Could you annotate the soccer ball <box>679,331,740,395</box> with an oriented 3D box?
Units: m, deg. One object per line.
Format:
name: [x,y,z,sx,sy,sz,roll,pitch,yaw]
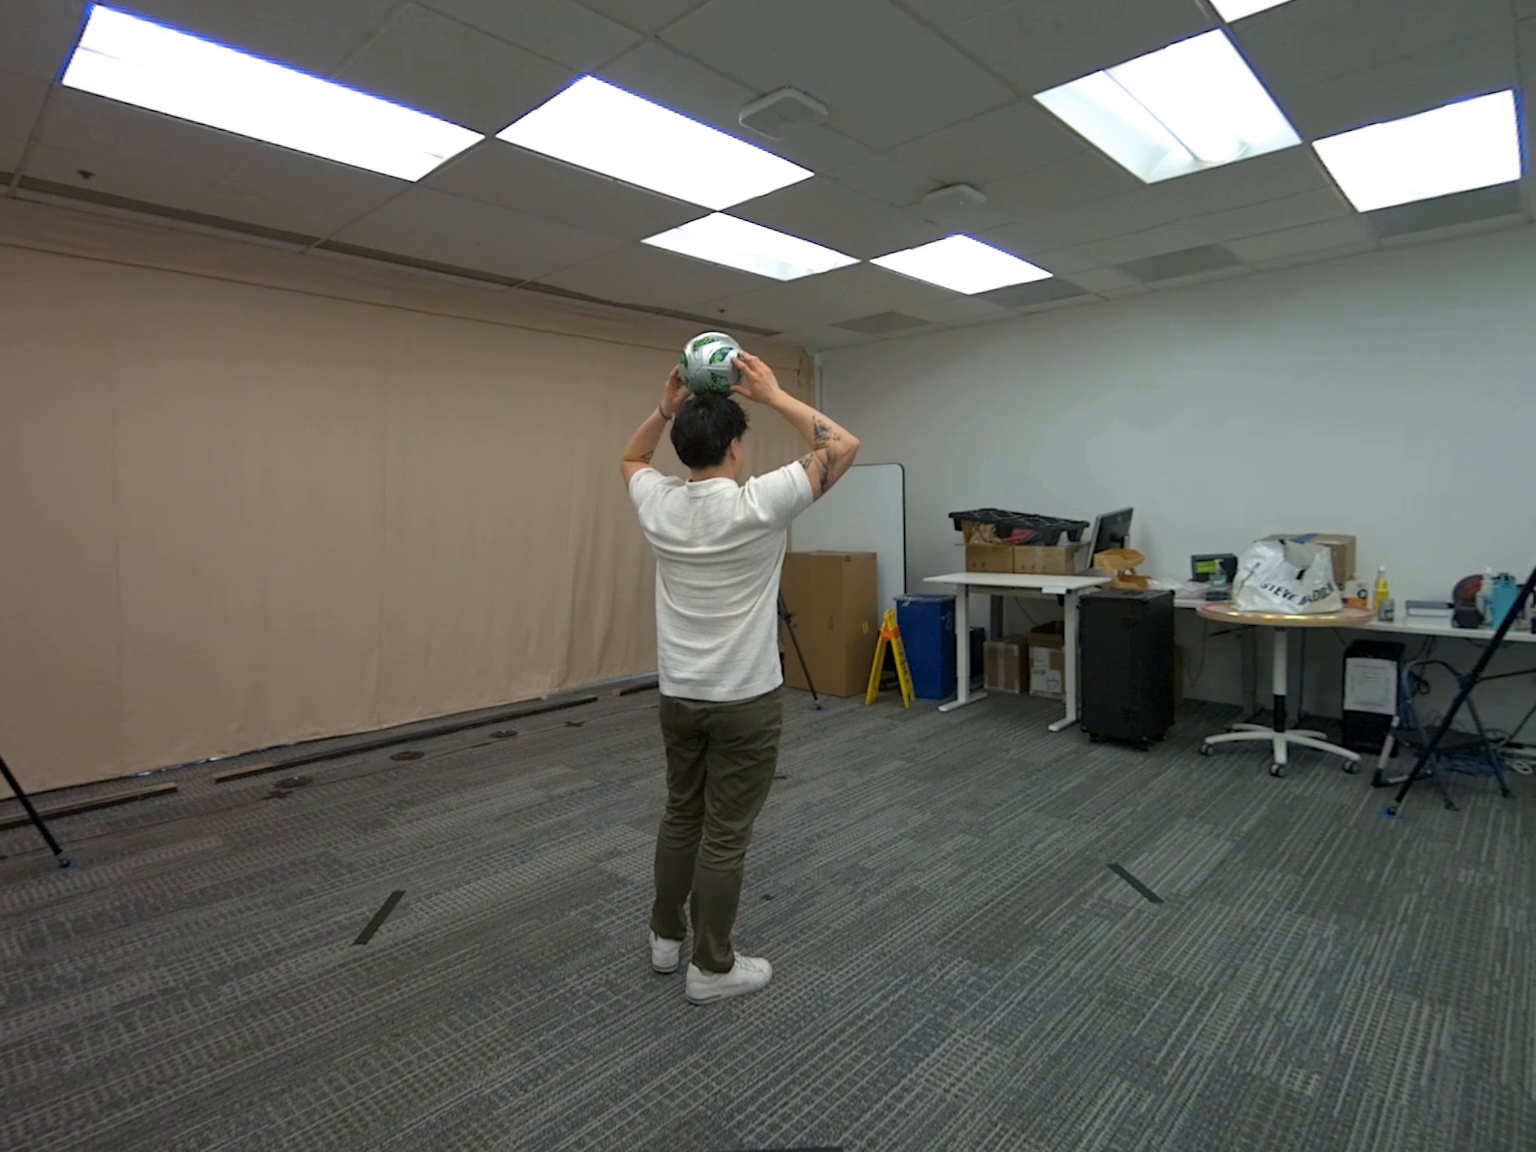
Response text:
soccer ball: [-0.156,-0.577,2.335,0.187,0.187,0.188,-1,4,-2]
